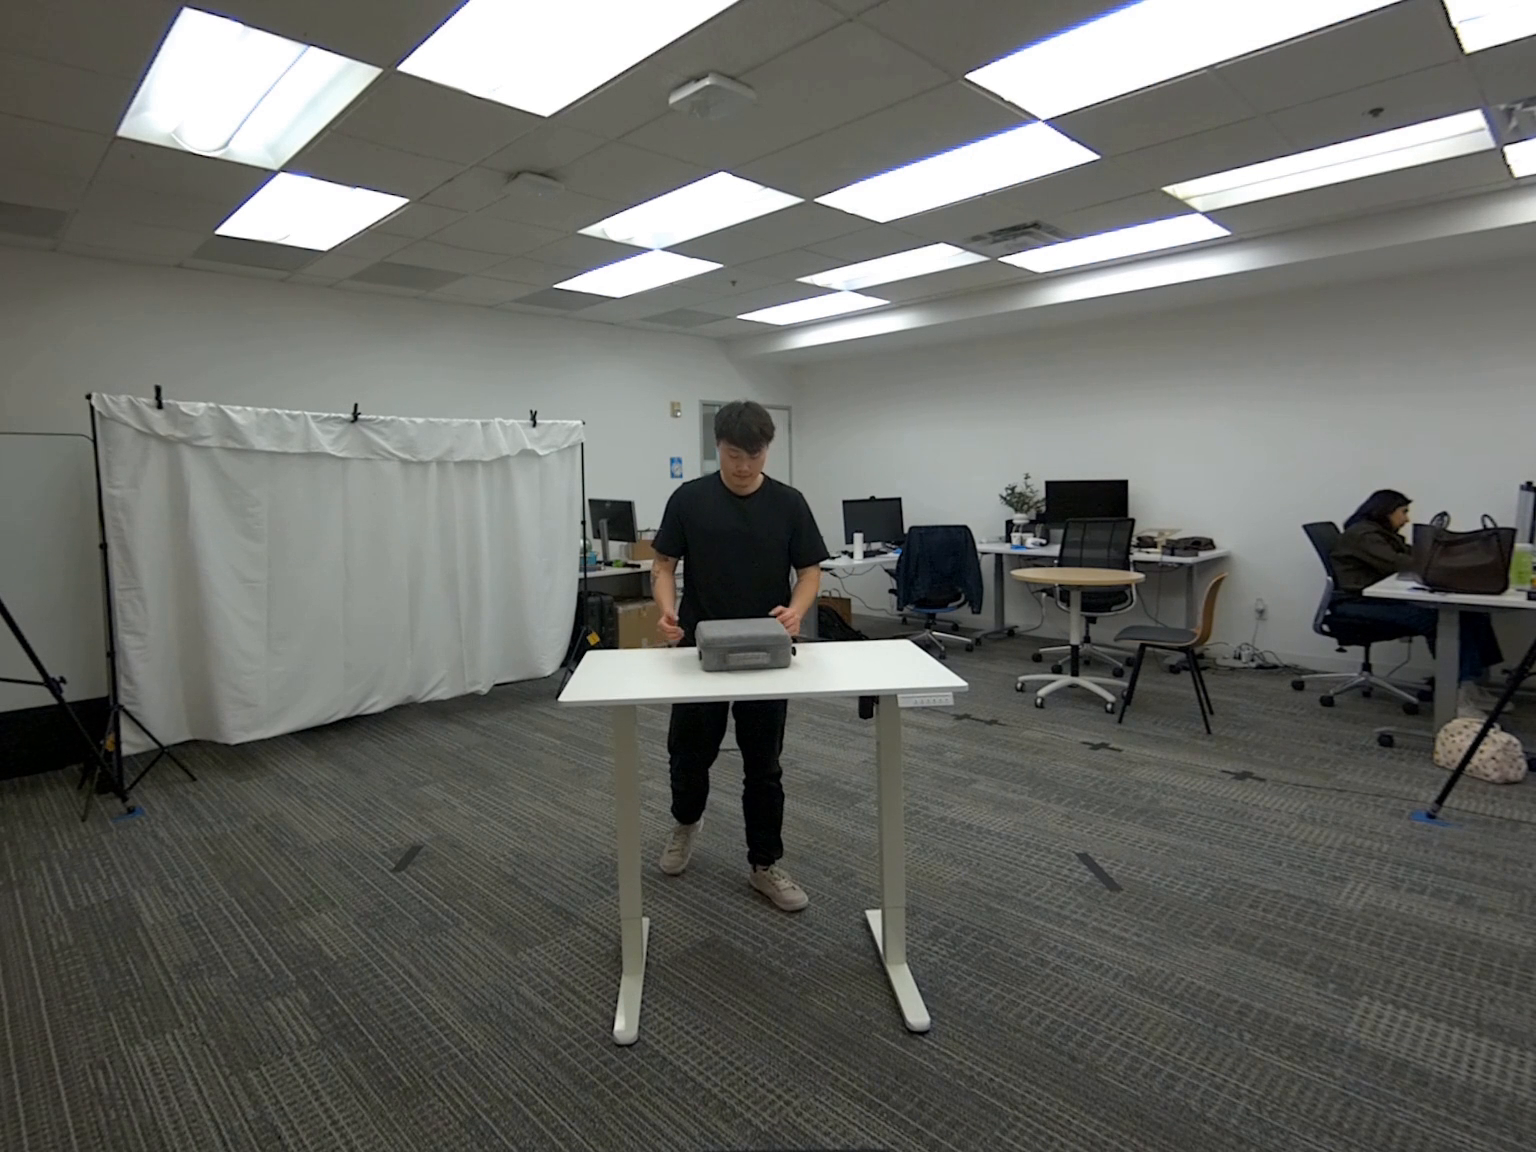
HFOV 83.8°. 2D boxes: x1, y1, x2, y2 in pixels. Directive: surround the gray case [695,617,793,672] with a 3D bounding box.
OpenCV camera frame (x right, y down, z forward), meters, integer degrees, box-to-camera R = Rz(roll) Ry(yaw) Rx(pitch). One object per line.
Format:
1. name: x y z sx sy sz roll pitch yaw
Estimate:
1. gray case: -0.081 0.193 2.424 0.255 0.104 0.264 0 7 -8
